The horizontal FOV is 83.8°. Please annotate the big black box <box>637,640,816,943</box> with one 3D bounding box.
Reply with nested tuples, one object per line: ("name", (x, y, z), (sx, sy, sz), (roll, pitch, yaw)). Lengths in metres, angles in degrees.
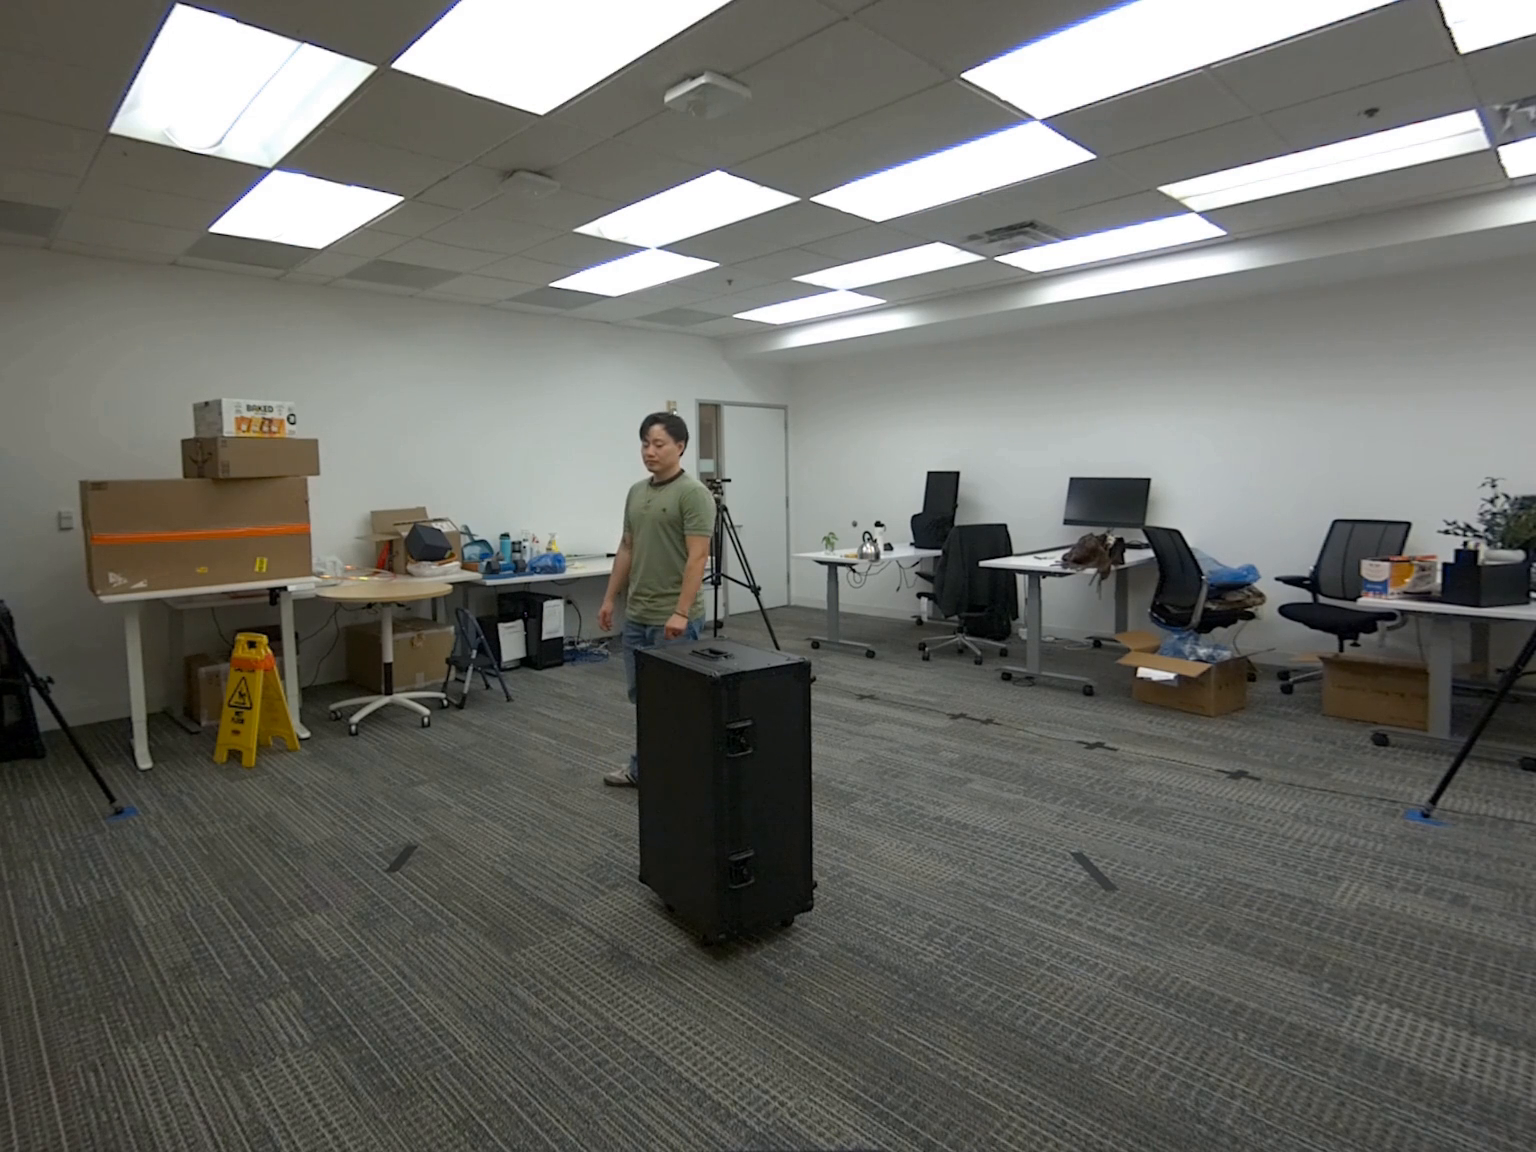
("big black box", (-0.139, 0.667, 2.716), (0.386, 0.859, 0.536), (-3, 5, -34))
